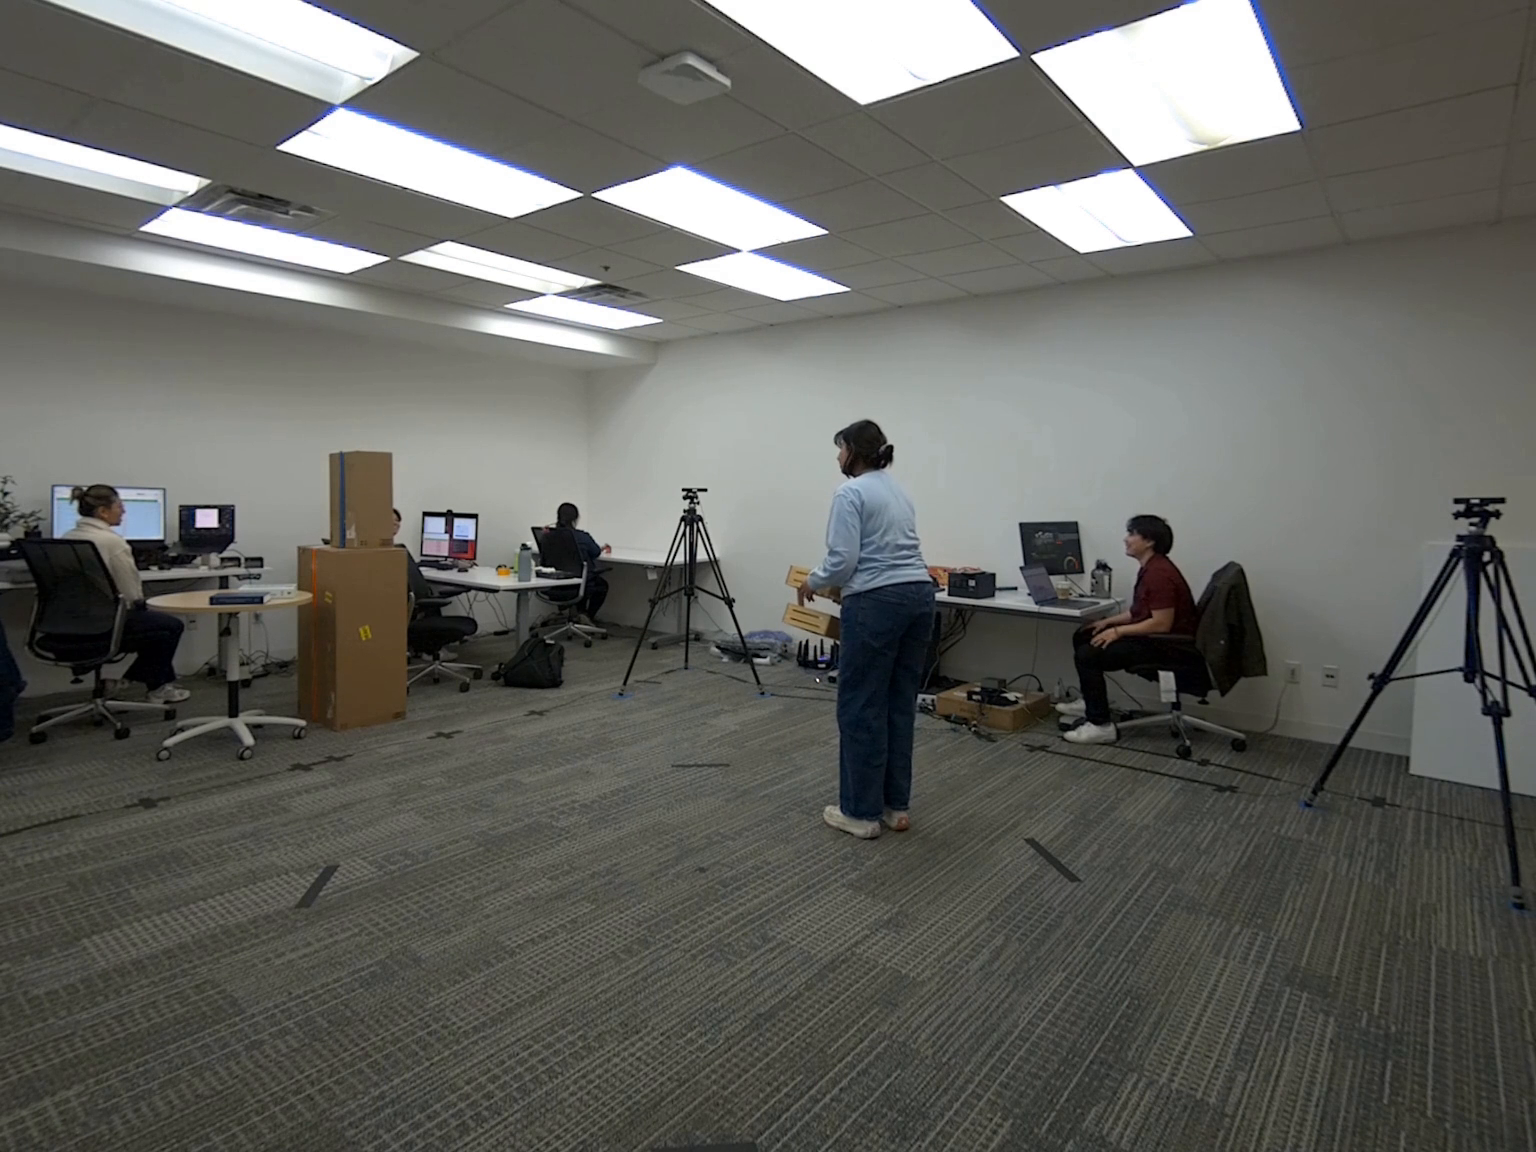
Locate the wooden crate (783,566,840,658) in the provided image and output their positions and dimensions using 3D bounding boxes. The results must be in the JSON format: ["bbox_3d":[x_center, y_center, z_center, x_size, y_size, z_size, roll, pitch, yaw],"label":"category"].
[{"bbox_3d":[0.267,0.137,3.844,0.290,0.274,0.336,21,-5,-37],"label":"wooden crate"}]
